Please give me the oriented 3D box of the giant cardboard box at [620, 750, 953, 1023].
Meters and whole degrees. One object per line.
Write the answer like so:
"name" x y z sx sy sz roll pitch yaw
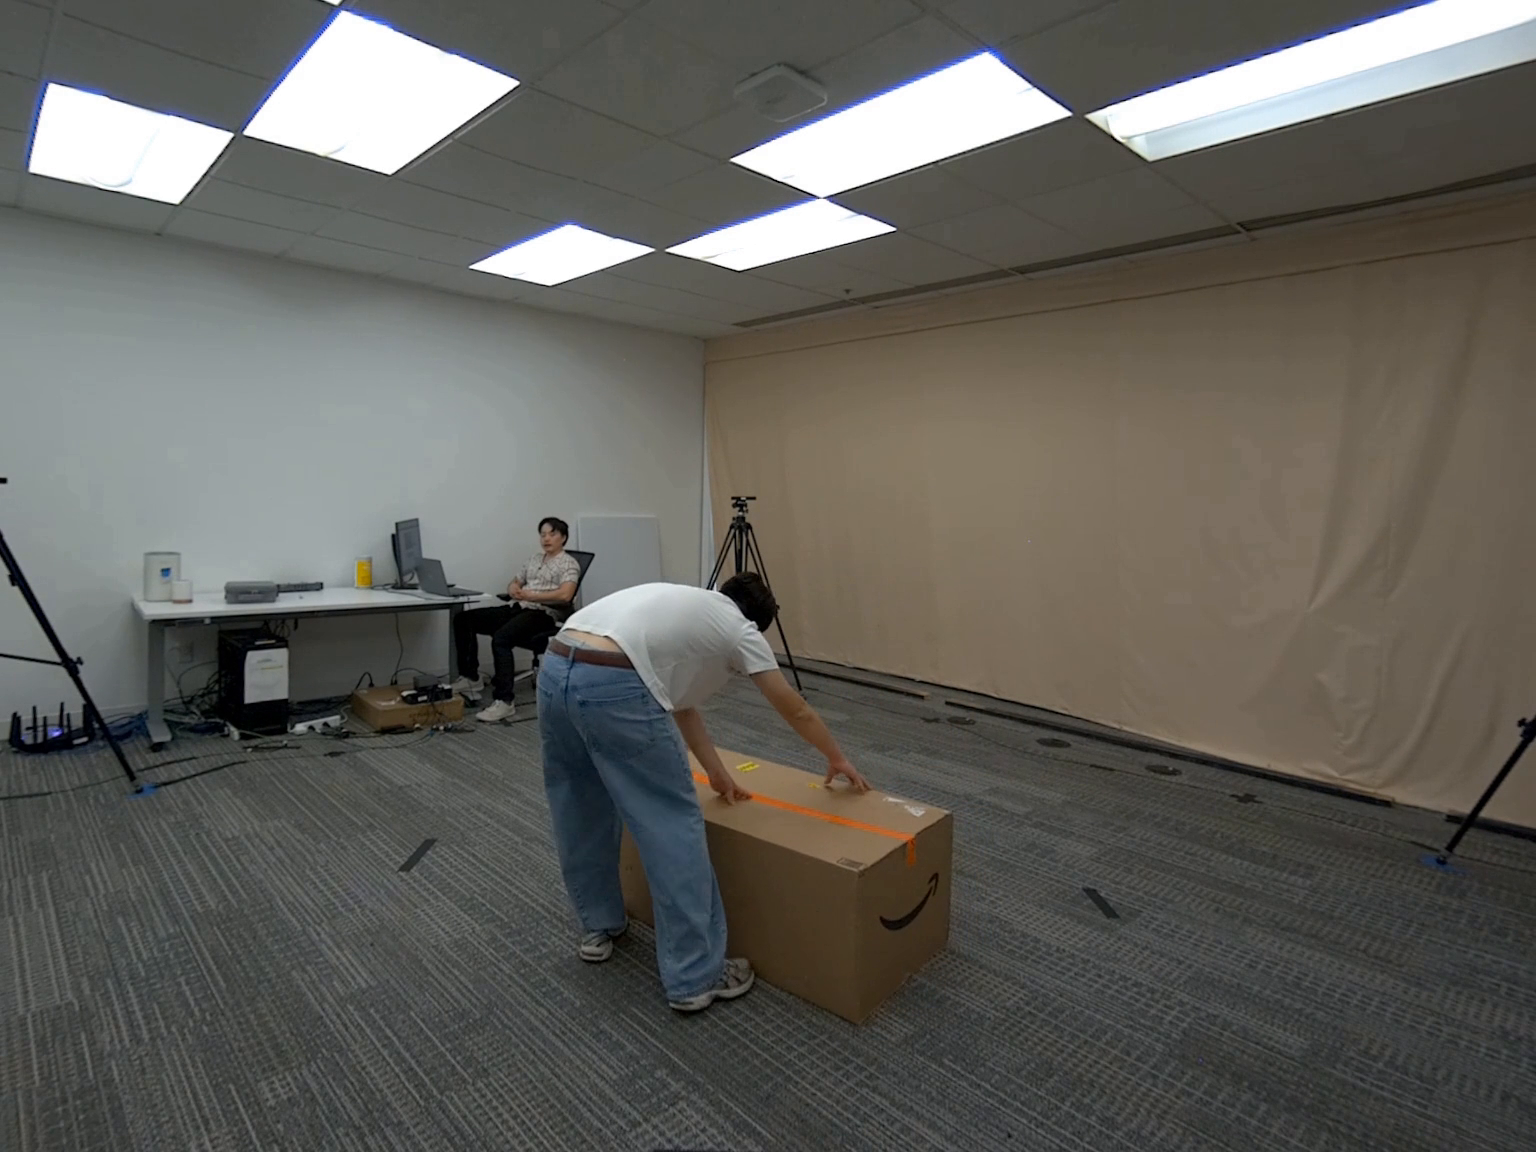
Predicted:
"giant cardboard box" -0.004 0.930 2.756 1.051 0.425 0.565 5 6 39
